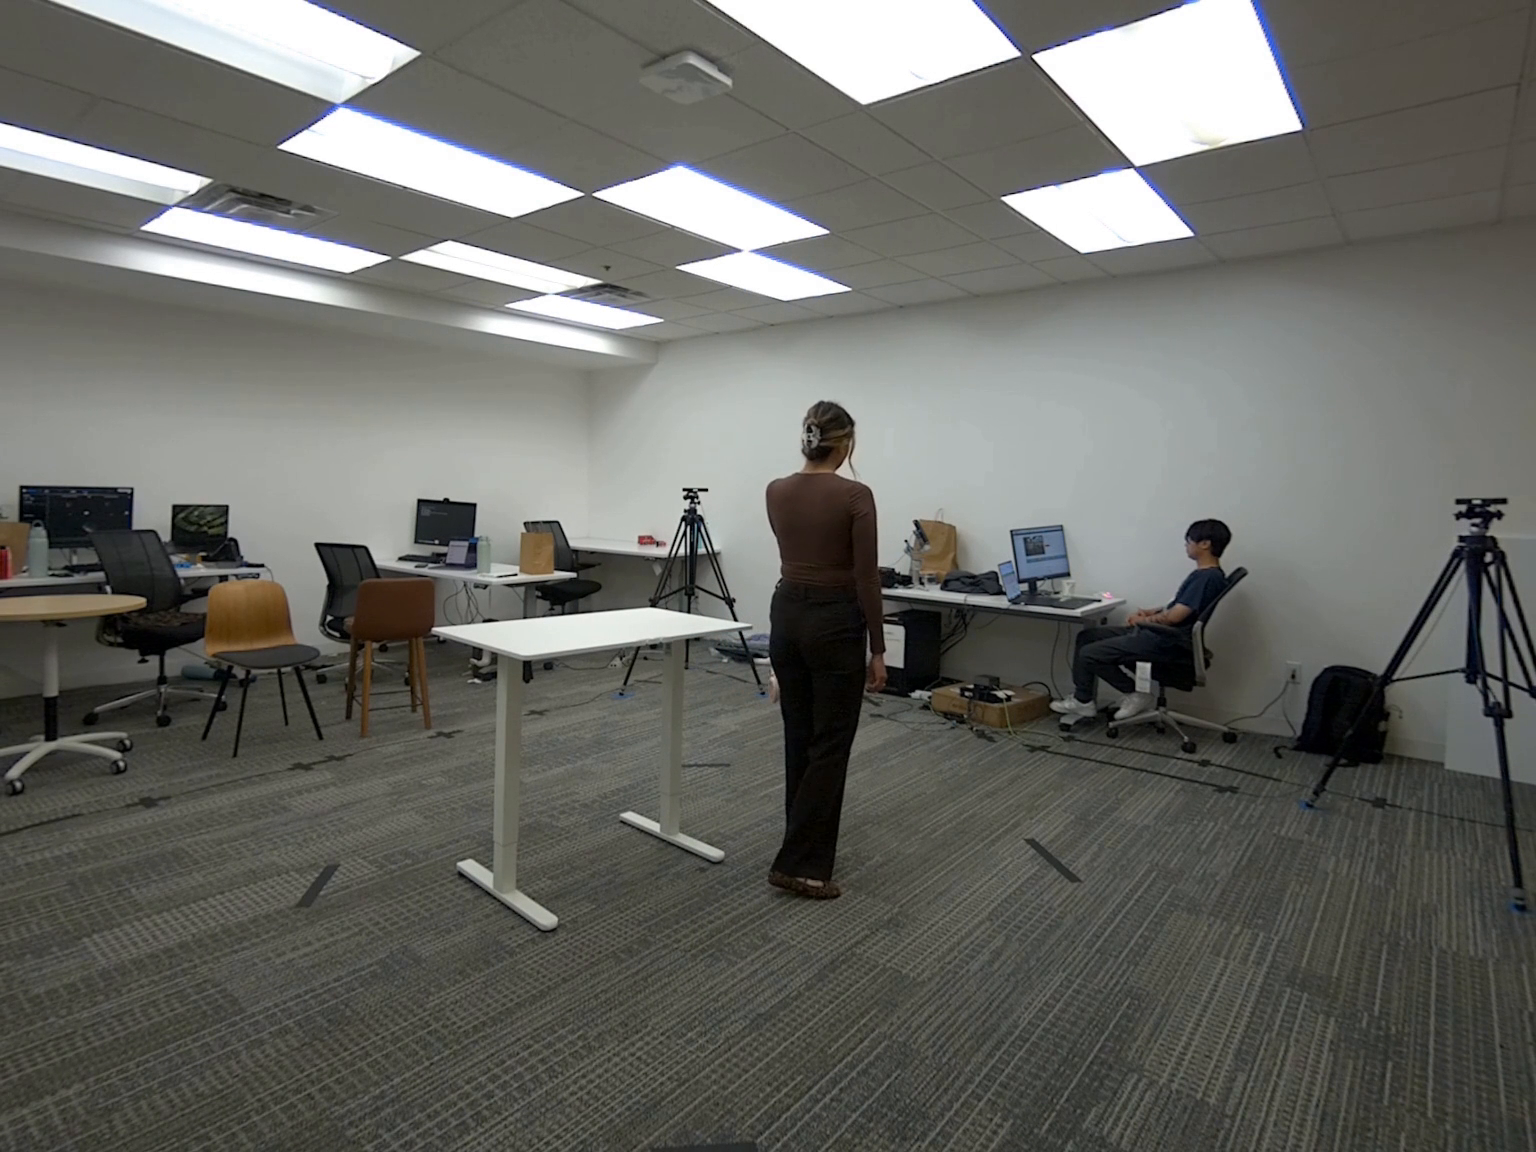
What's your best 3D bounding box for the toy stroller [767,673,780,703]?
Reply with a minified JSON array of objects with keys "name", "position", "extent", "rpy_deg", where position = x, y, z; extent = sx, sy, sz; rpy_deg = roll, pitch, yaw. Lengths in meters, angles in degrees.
[{"name":"toy stroller","position":[0.121,0.311,3.720],"extent":[0.280,0.533,0.344],"rpy_deg":[-2,4,-6]}]
